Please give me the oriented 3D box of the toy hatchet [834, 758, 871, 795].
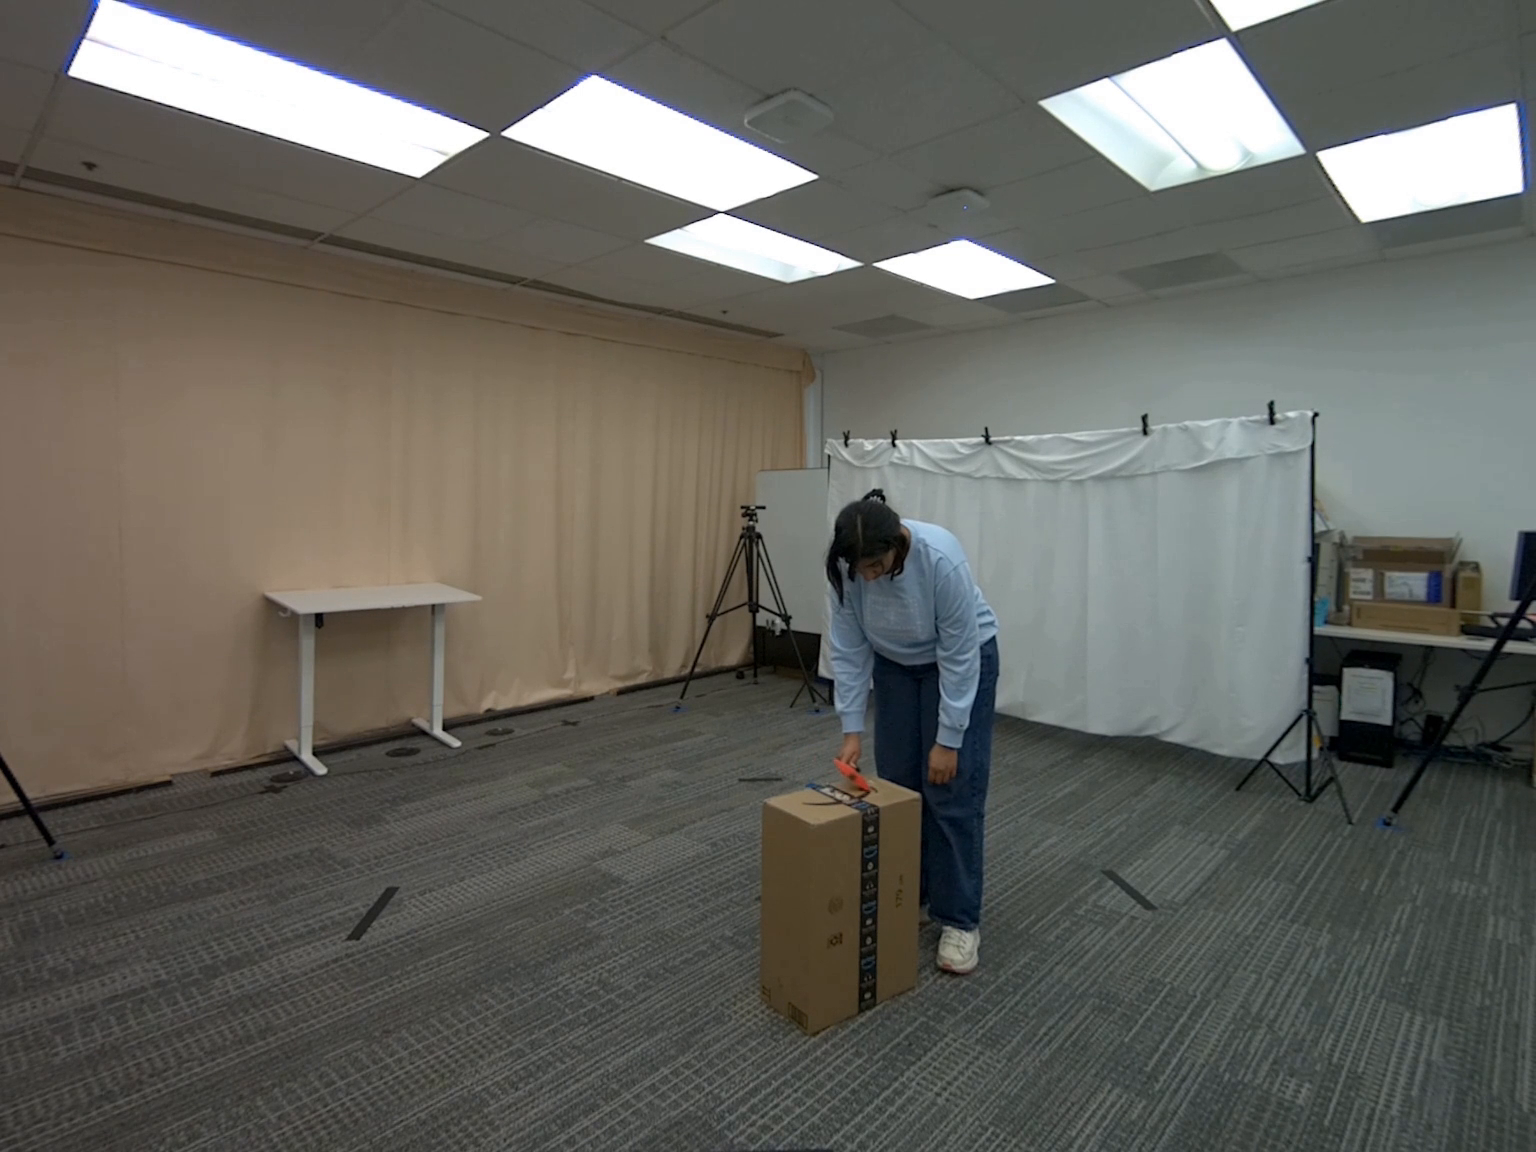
[{"bbox_3d":[0.280,0.606,2.554,0.134,0.029,0.263,34,-3,22],"label":"toy hatchet"}]
